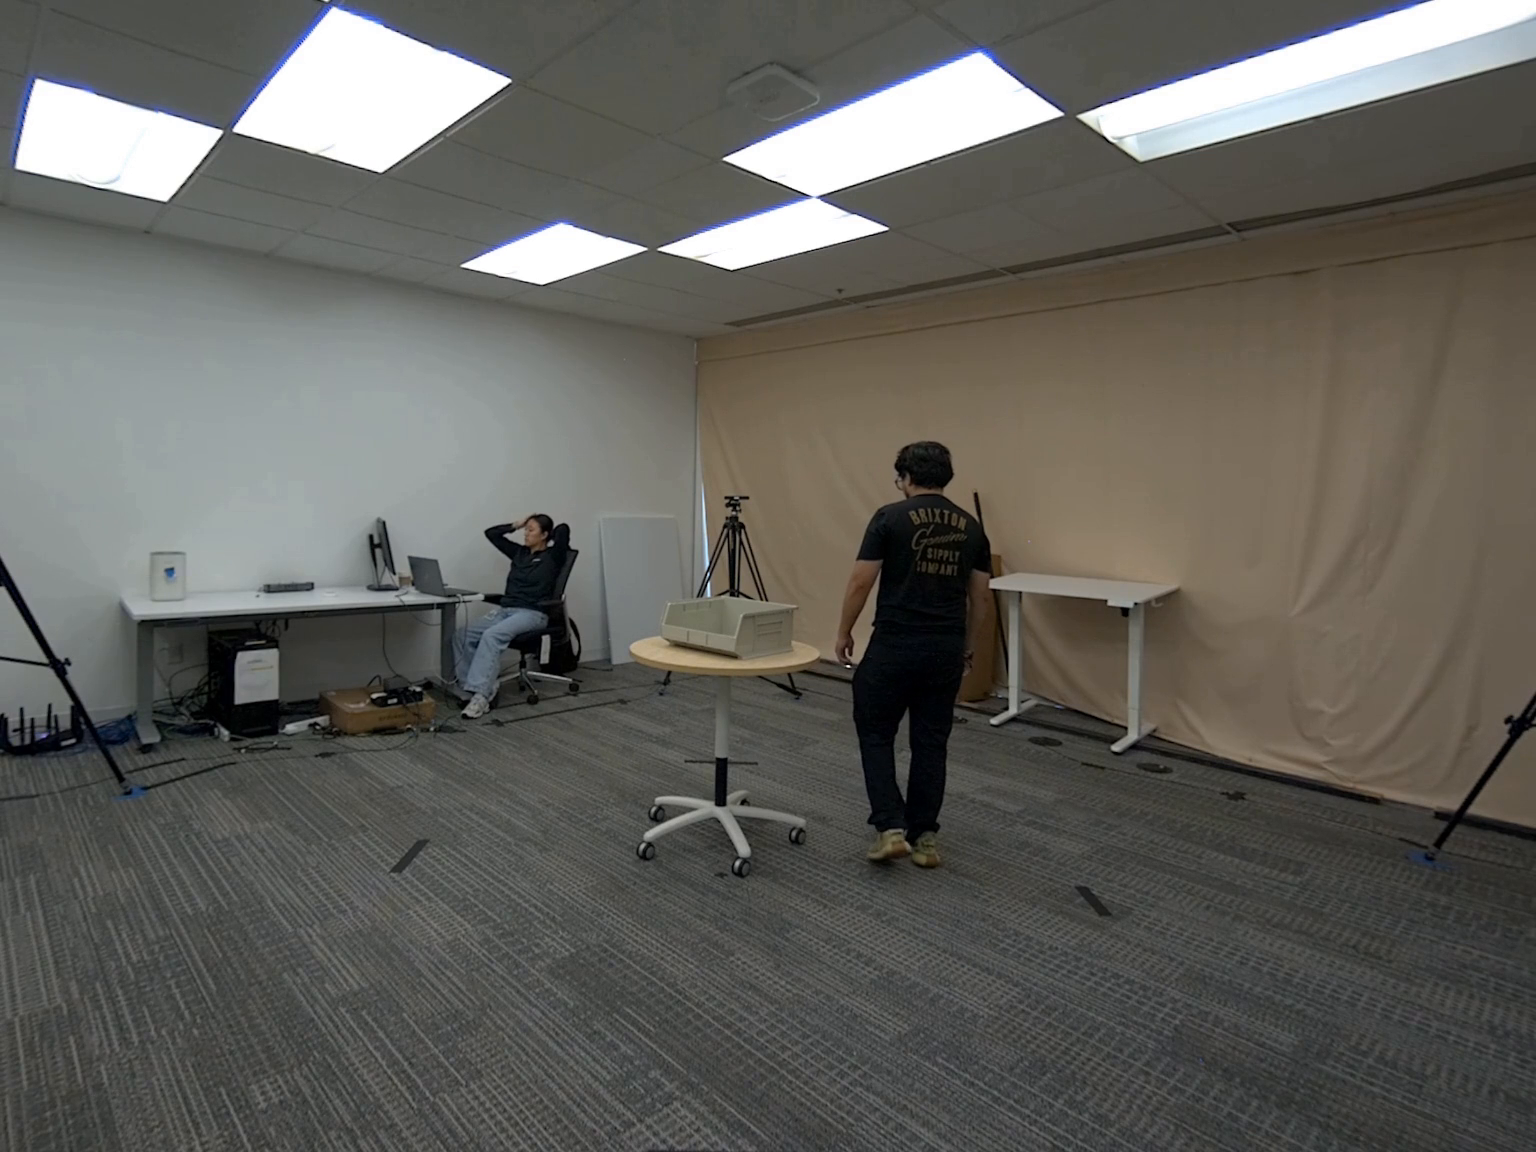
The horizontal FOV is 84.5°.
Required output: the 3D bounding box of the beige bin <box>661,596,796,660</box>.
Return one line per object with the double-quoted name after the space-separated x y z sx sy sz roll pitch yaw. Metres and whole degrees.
-0.167 0.205 3.408 0.433 0.188 0.369 6 5 40 "beige bin"
